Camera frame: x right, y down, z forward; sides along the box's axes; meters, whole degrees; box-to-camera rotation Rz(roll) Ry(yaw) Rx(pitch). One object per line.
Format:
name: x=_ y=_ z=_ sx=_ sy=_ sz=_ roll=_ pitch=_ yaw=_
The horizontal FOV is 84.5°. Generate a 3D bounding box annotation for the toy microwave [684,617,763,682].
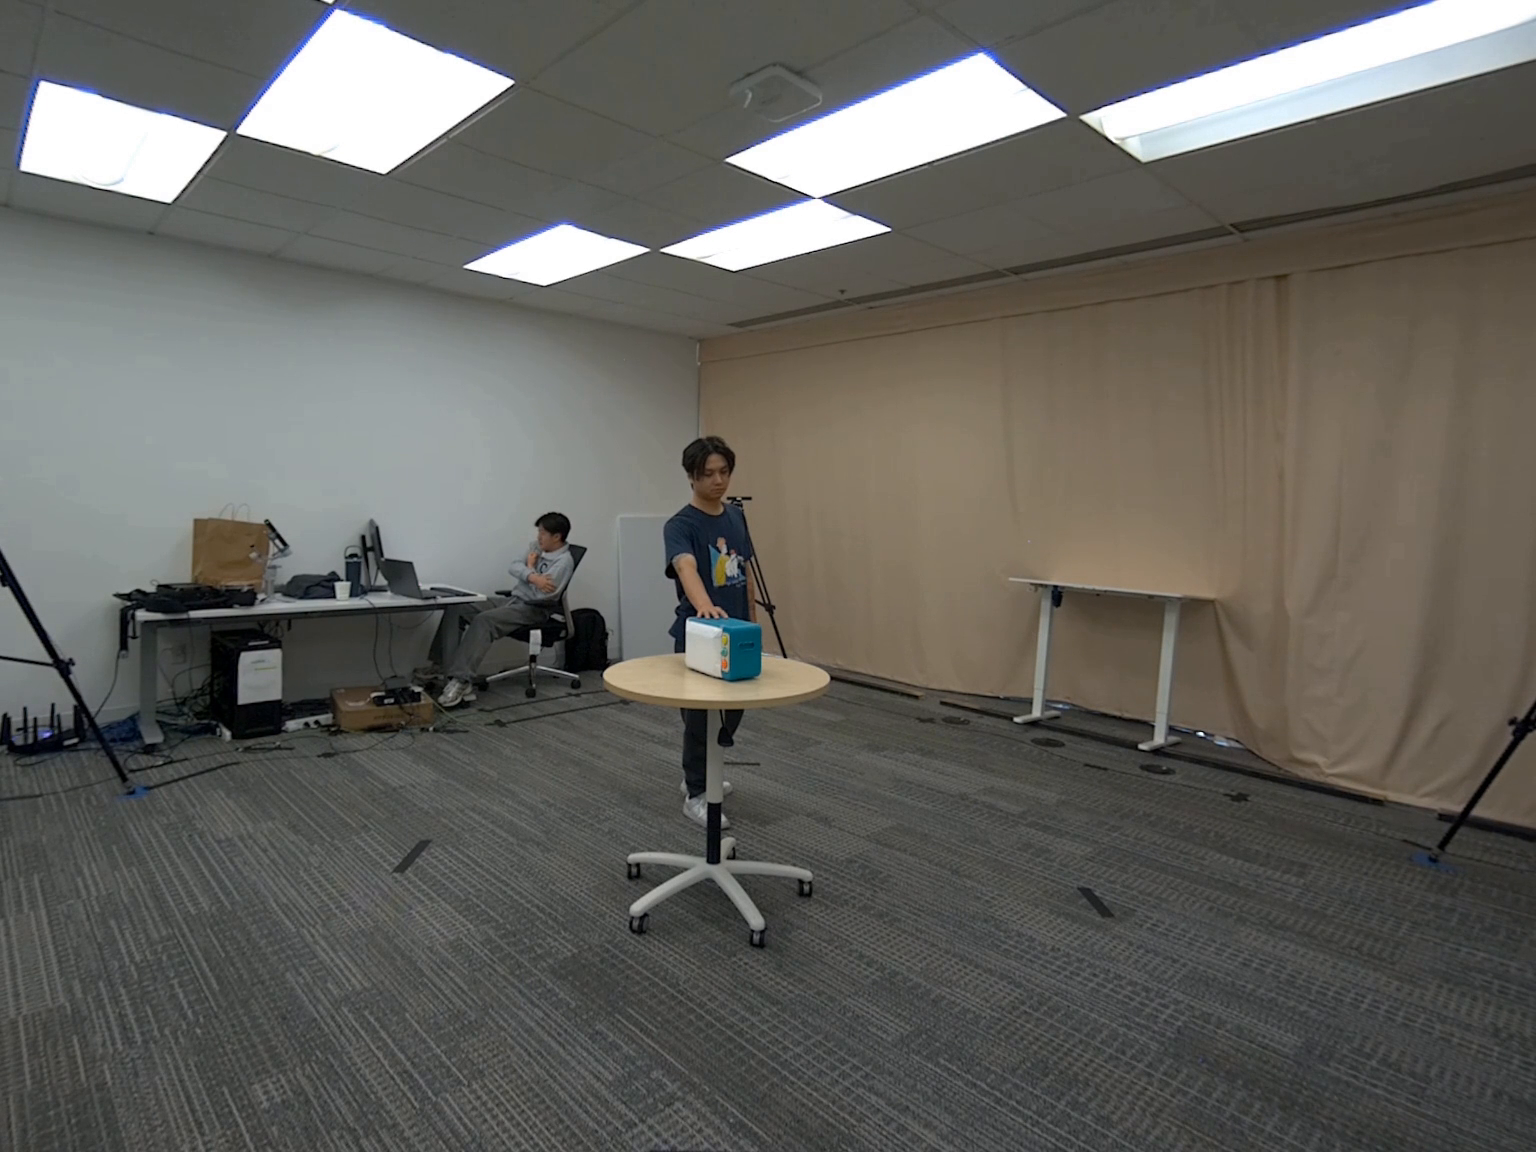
toy microwave: x=-0.167 y=0.243 z=2.843 sx=0.149 sy=0.183 sz=0.293 roll=-2 pitch=5 yaw=-36
